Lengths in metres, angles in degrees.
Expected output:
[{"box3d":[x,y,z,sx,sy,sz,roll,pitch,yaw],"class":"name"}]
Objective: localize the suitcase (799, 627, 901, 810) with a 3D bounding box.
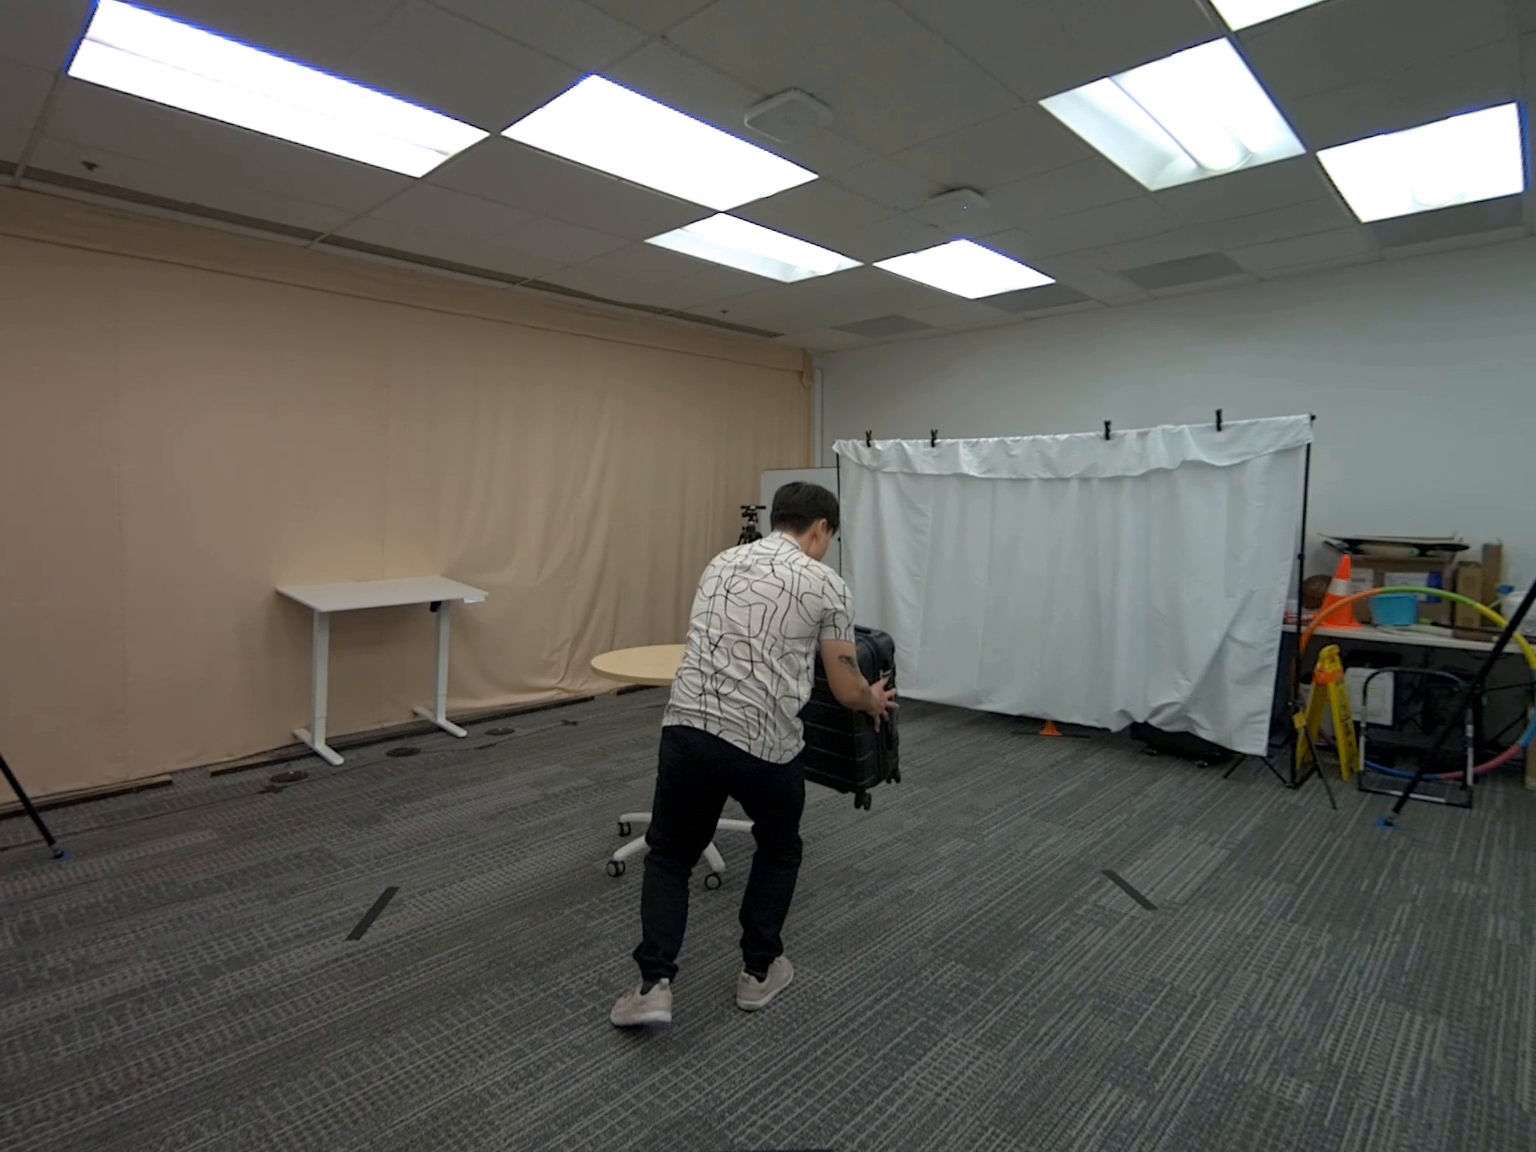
[{"box3d":[0.233,0.431,2.729,0.388,0.544,0.242,8,18,39],"class":"suitcase"}]
